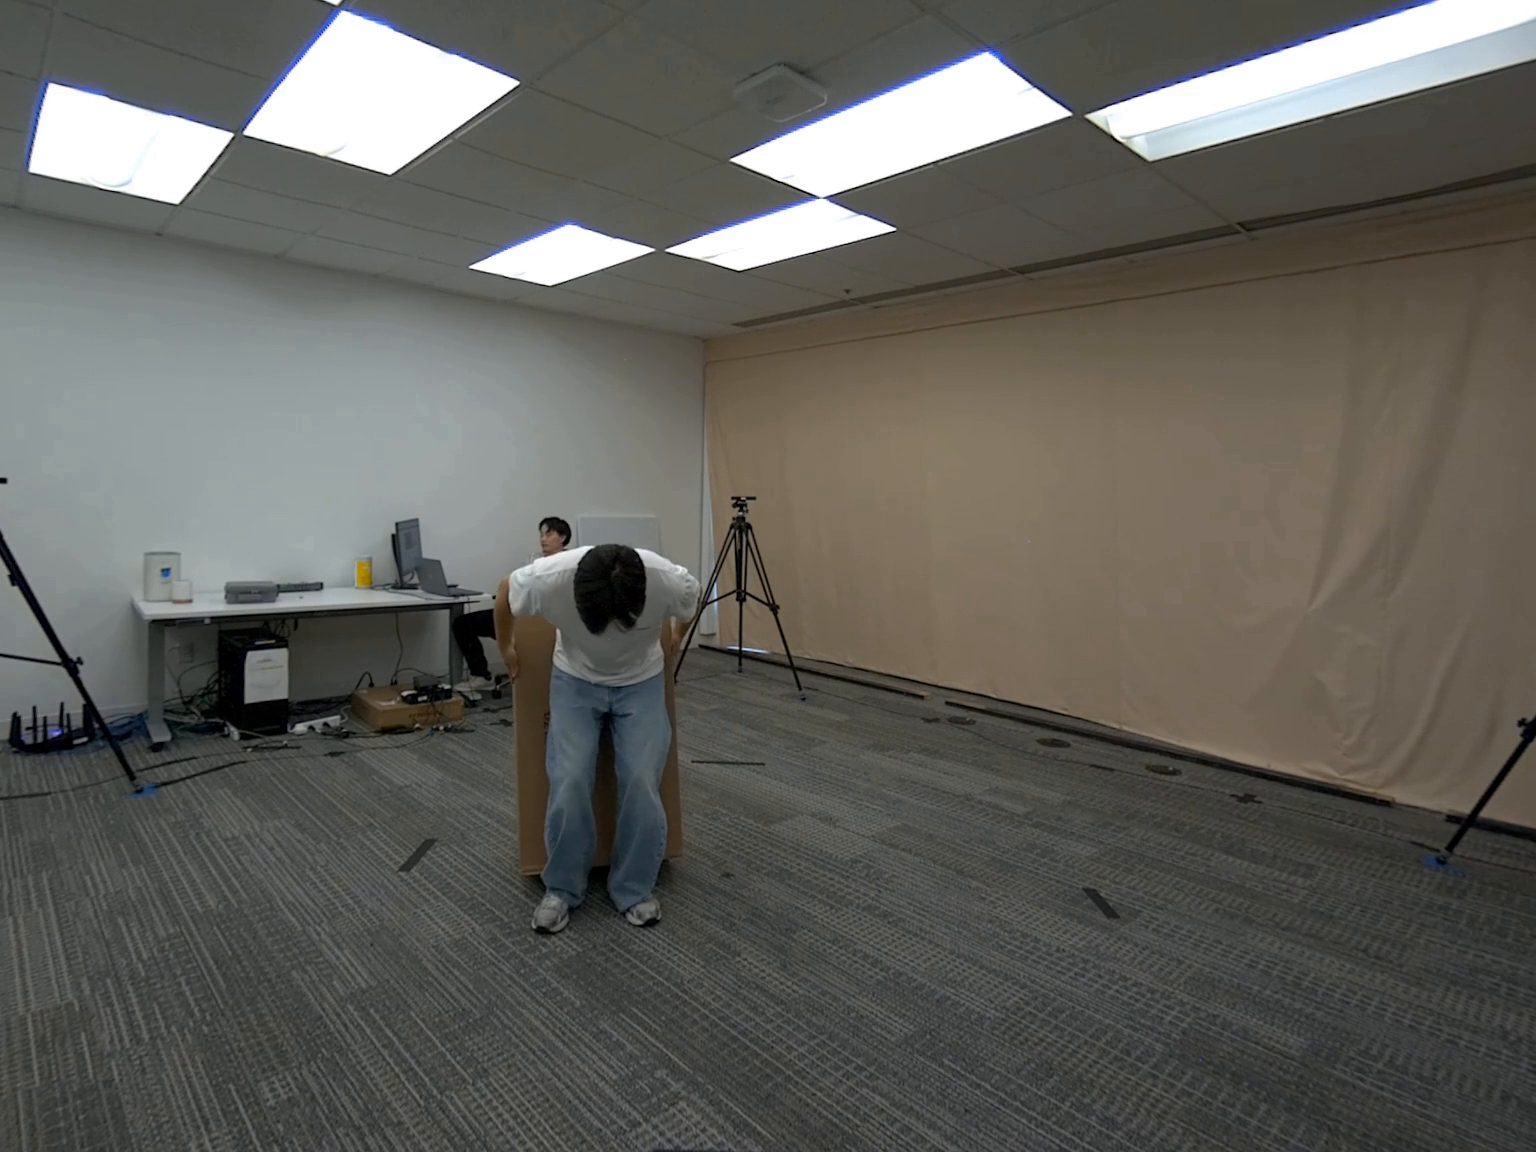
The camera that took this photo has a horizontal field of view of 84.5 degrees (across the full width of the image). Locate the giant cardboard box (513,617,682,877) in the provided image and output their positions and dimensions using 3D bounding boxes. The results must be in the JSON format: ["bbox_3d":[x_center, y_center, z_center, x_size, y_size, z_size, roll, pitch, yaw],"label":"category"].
[{"bbox_3d":[-0.681,0.534,3.221,0.570,1.030,0.429,-1,-5,-16],"label":"giant cardboard box"}]
